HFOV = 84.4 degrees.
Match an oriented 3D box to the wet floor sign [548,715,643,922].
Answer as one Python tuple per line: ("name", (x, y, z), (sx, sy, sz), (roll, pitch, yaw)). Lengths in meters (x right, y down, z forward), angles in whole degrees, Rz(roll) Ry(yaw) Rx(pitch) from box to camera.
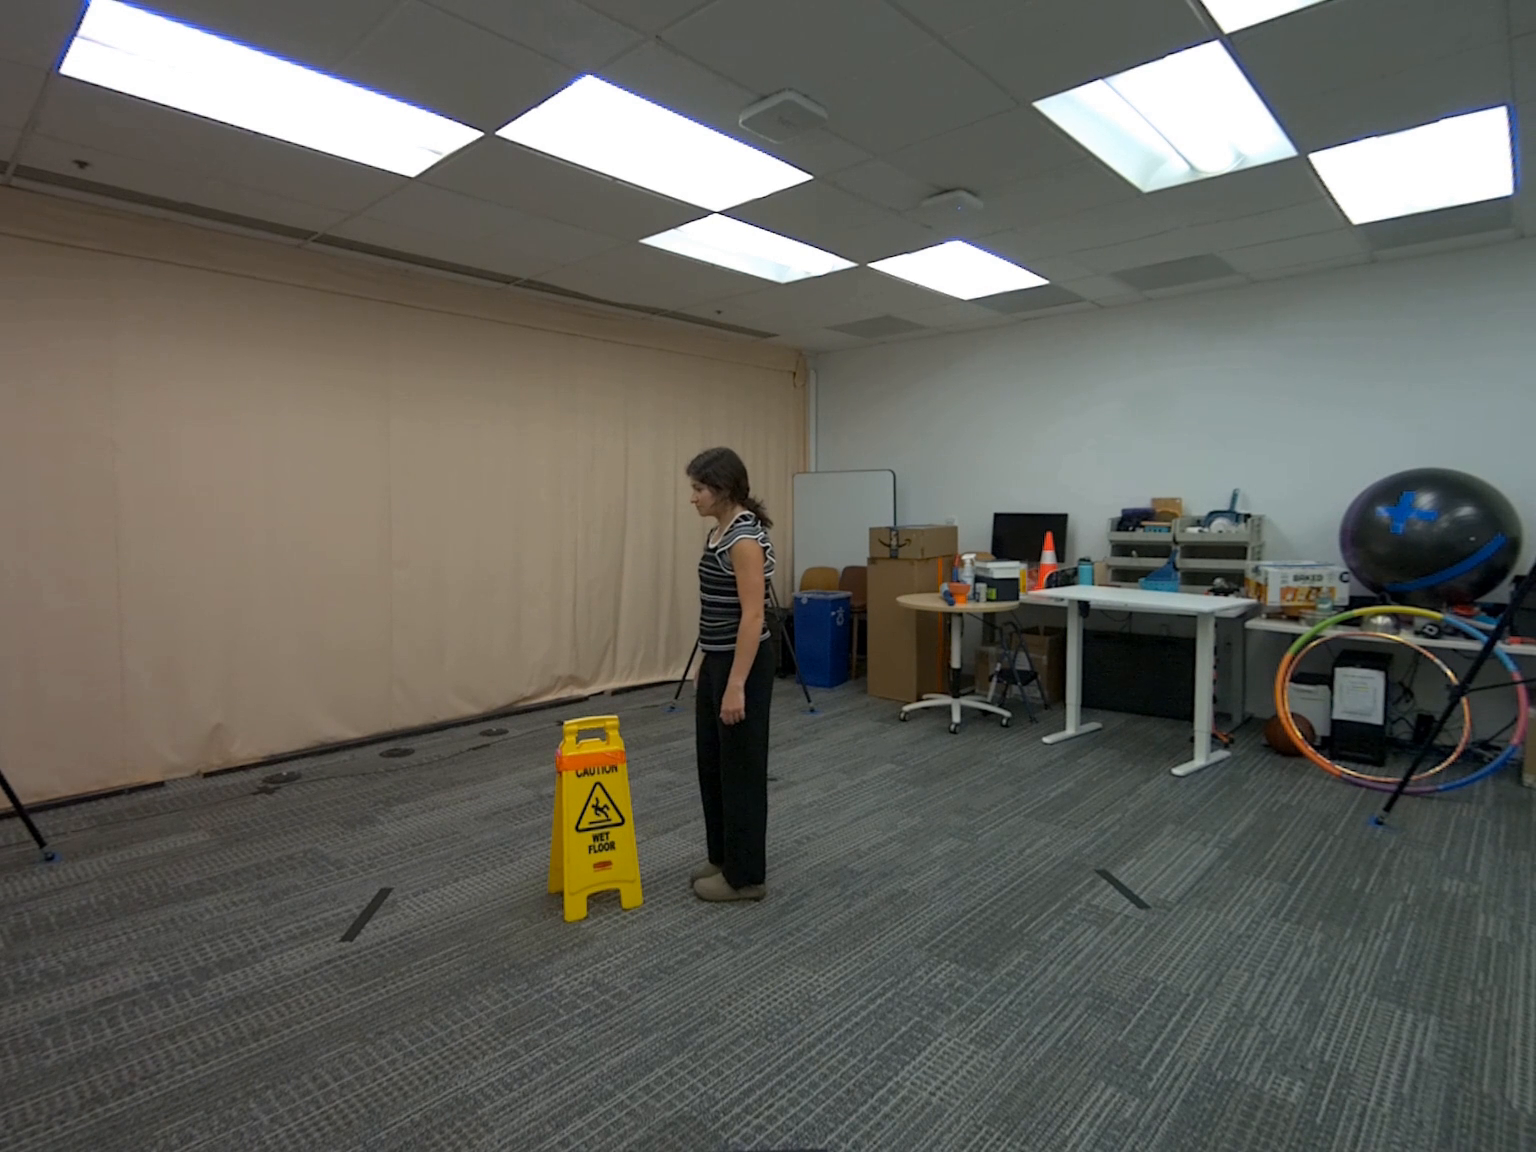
("wet floor sign", (-0.622, 0.828, 2.979), (0.276, 0.645, 0.297), (-2, 2, -24))
